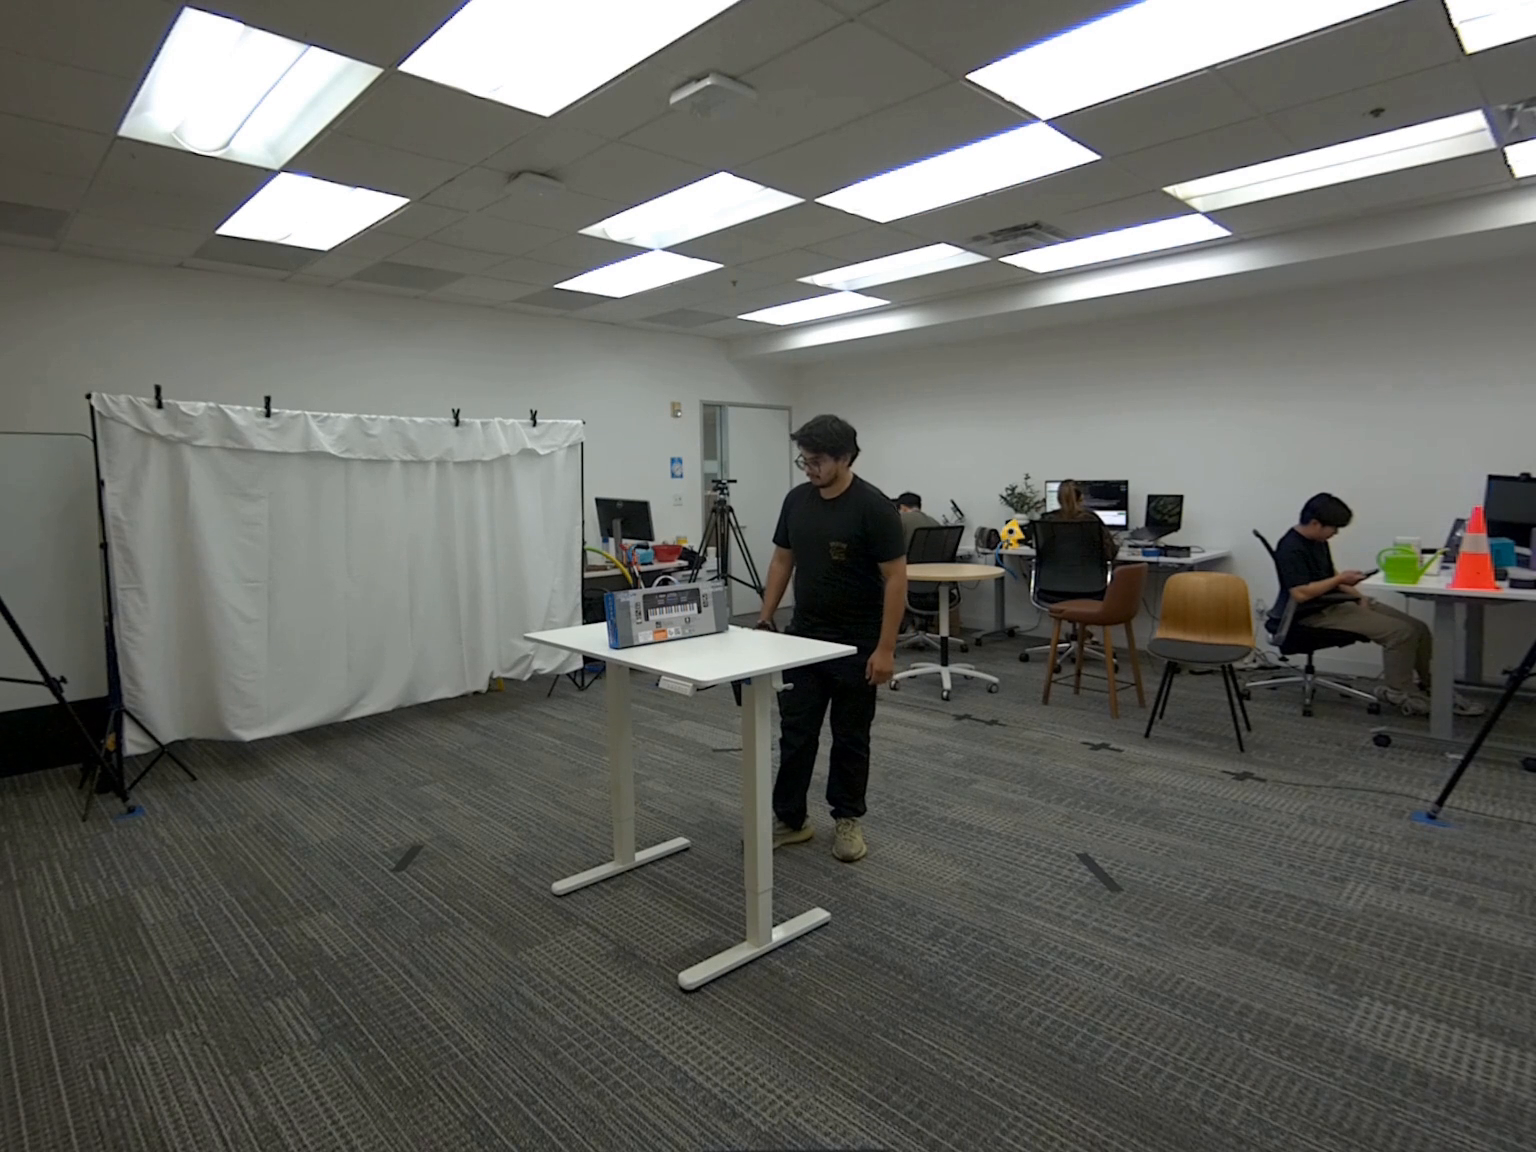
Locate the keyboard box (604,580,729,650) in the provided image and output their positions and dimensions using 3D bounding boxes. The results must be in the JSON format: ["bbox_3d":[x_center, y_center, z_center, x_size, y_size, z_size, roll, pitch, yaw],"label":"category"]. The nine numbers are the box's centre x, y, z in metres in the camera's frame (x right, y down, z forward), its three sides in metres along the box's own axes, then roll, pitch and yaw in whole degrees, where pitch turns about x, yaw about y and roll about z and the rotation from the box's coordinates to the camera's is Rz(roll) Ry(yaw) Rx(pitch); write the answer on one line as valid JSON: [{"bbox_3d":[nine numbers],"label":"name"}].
[{"bbox_3d":[-0.322,0.121,2.778,0.426,0.176,0.060,-7,-1,-39],"label":"keyboard box"}]
